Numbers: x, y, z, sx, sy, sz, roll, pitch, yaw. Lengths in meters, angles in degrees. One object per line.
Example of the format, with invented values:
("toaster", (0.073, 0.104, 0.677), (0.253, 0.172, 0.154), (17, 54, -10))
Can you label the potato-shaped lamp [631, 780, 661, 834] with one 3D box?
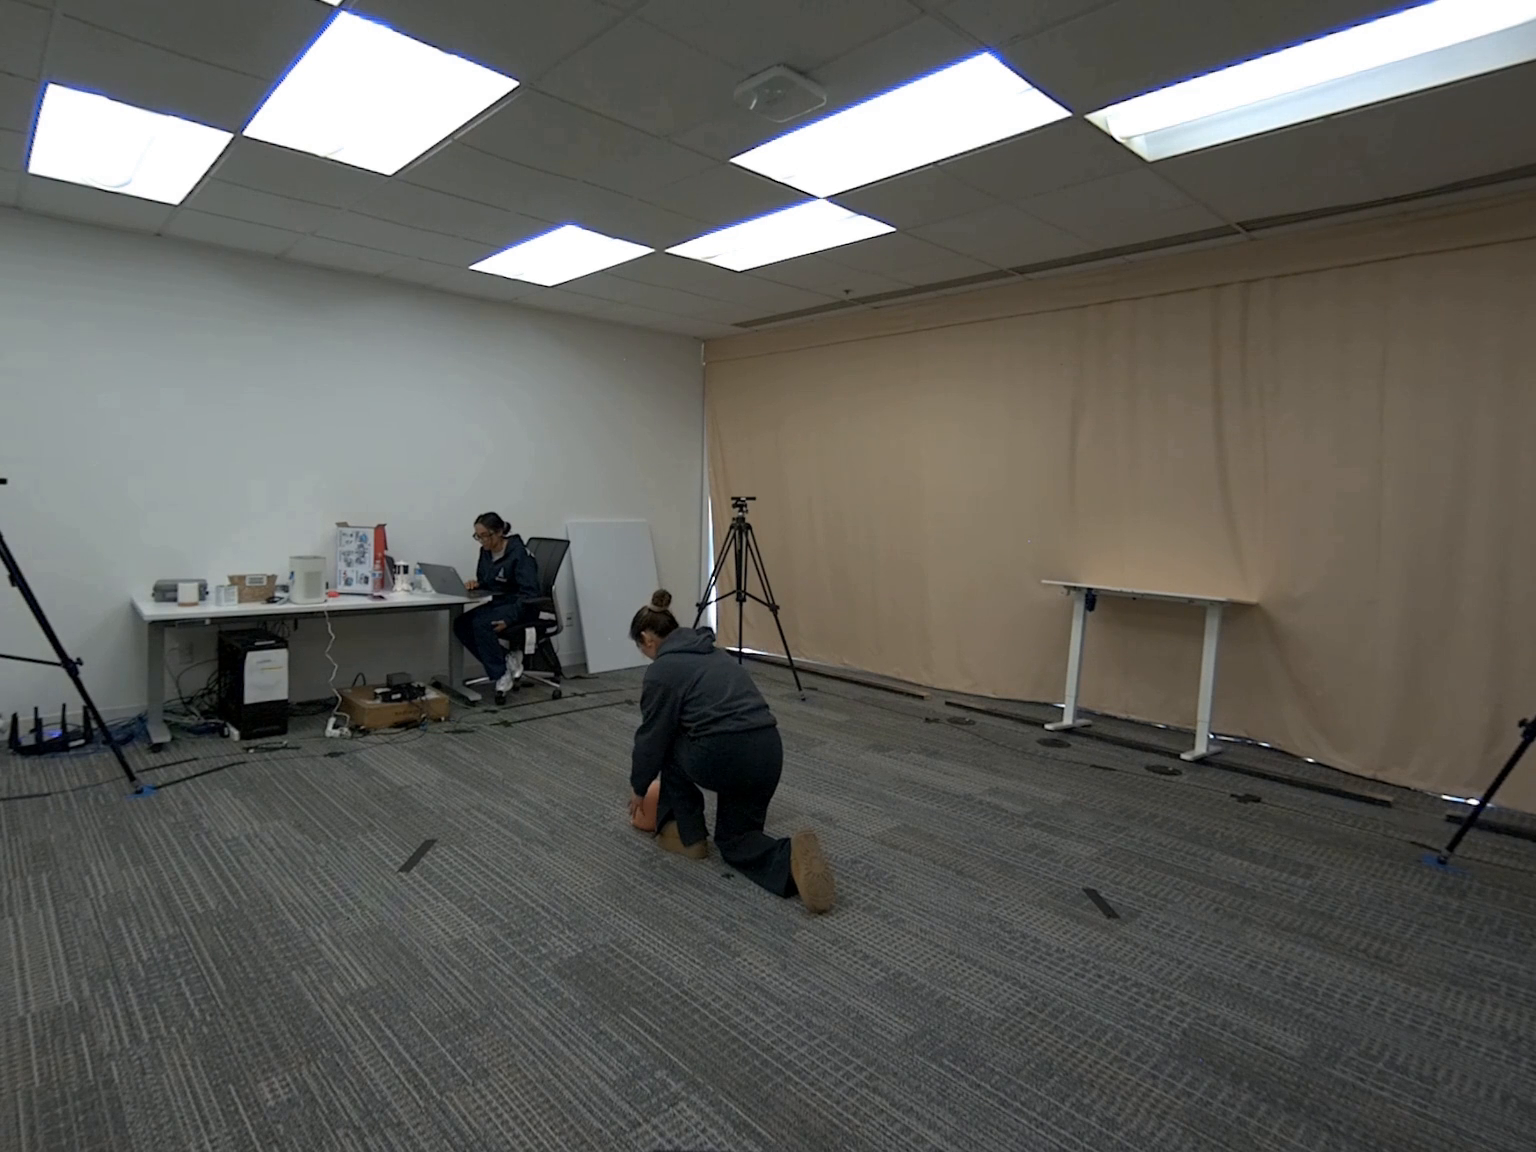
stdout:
("potato-shaped lamp", (-0.490, 0.955, 3.555), (0.176, 0.197, 0.161), (11, 6, 37))
